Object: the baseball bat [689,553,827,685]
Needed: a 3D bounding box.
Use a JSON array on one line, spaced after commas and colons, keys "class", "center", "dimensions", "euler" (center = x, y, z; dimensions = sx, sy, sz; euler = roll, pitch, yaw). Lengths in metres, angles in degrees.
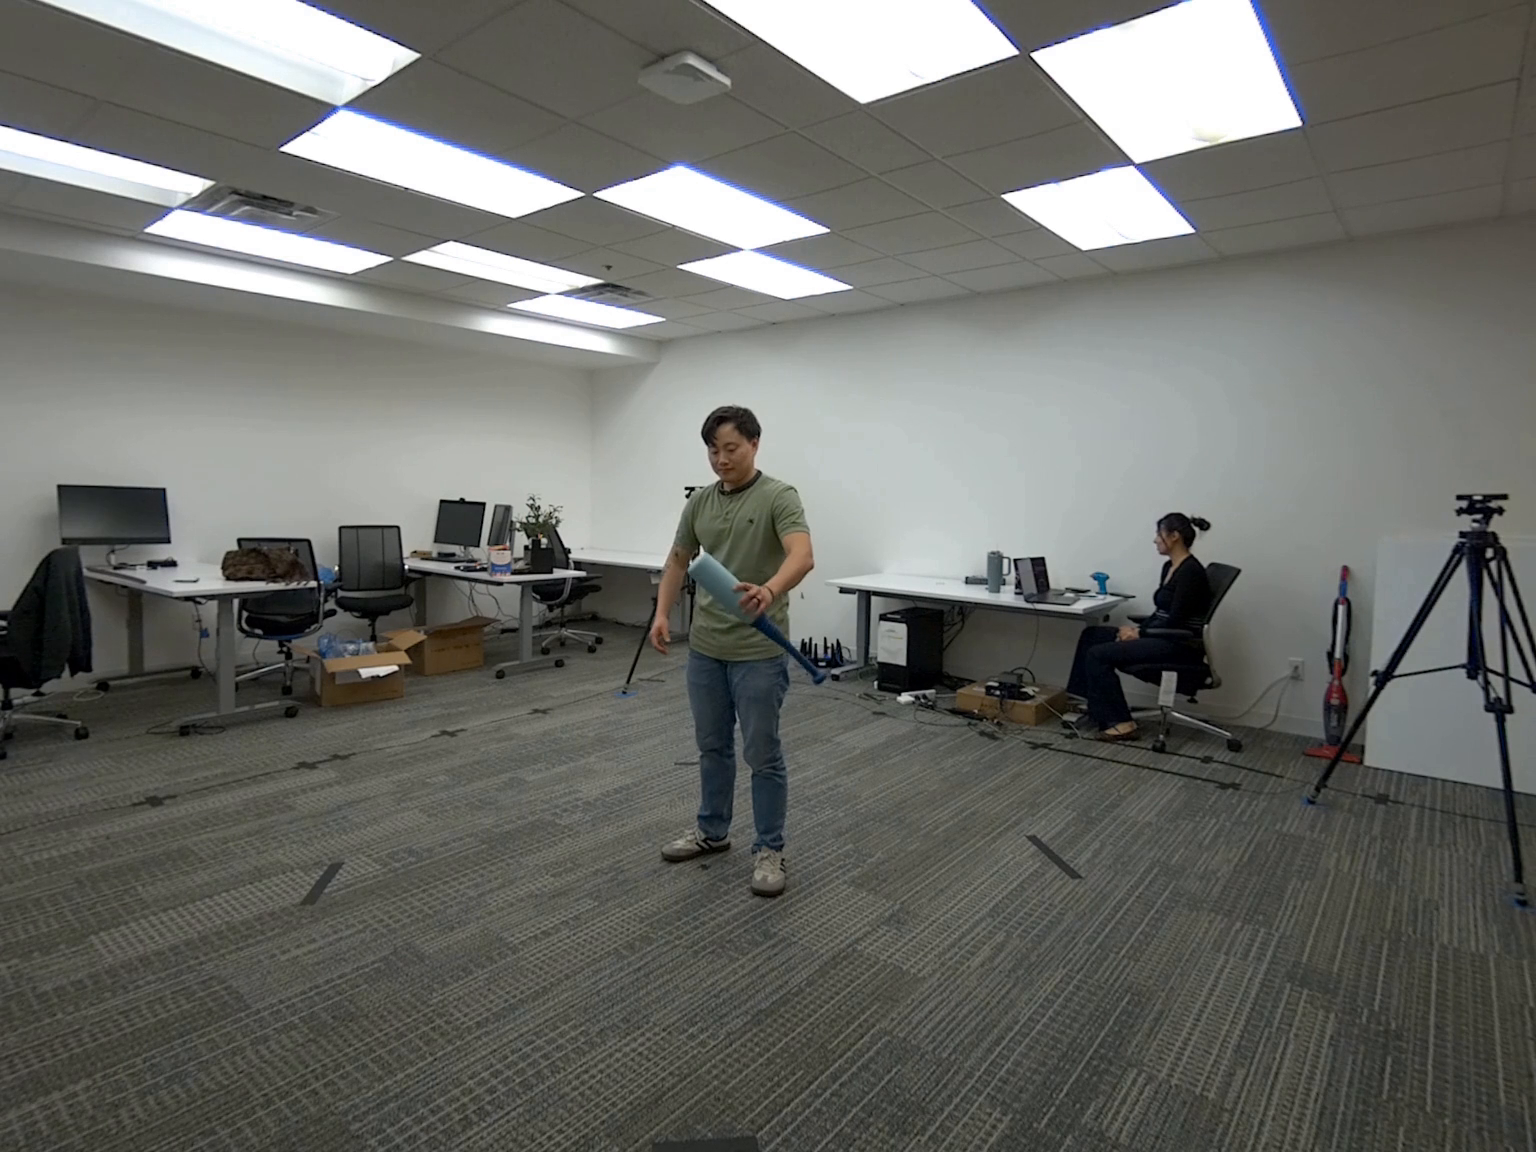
[{"class": "baseball bat", "center": [-0.029, 0.137, 2.577], "dimensions": [0.538, 0.089, 0.090], "euler": [44, -2, -6]}]
